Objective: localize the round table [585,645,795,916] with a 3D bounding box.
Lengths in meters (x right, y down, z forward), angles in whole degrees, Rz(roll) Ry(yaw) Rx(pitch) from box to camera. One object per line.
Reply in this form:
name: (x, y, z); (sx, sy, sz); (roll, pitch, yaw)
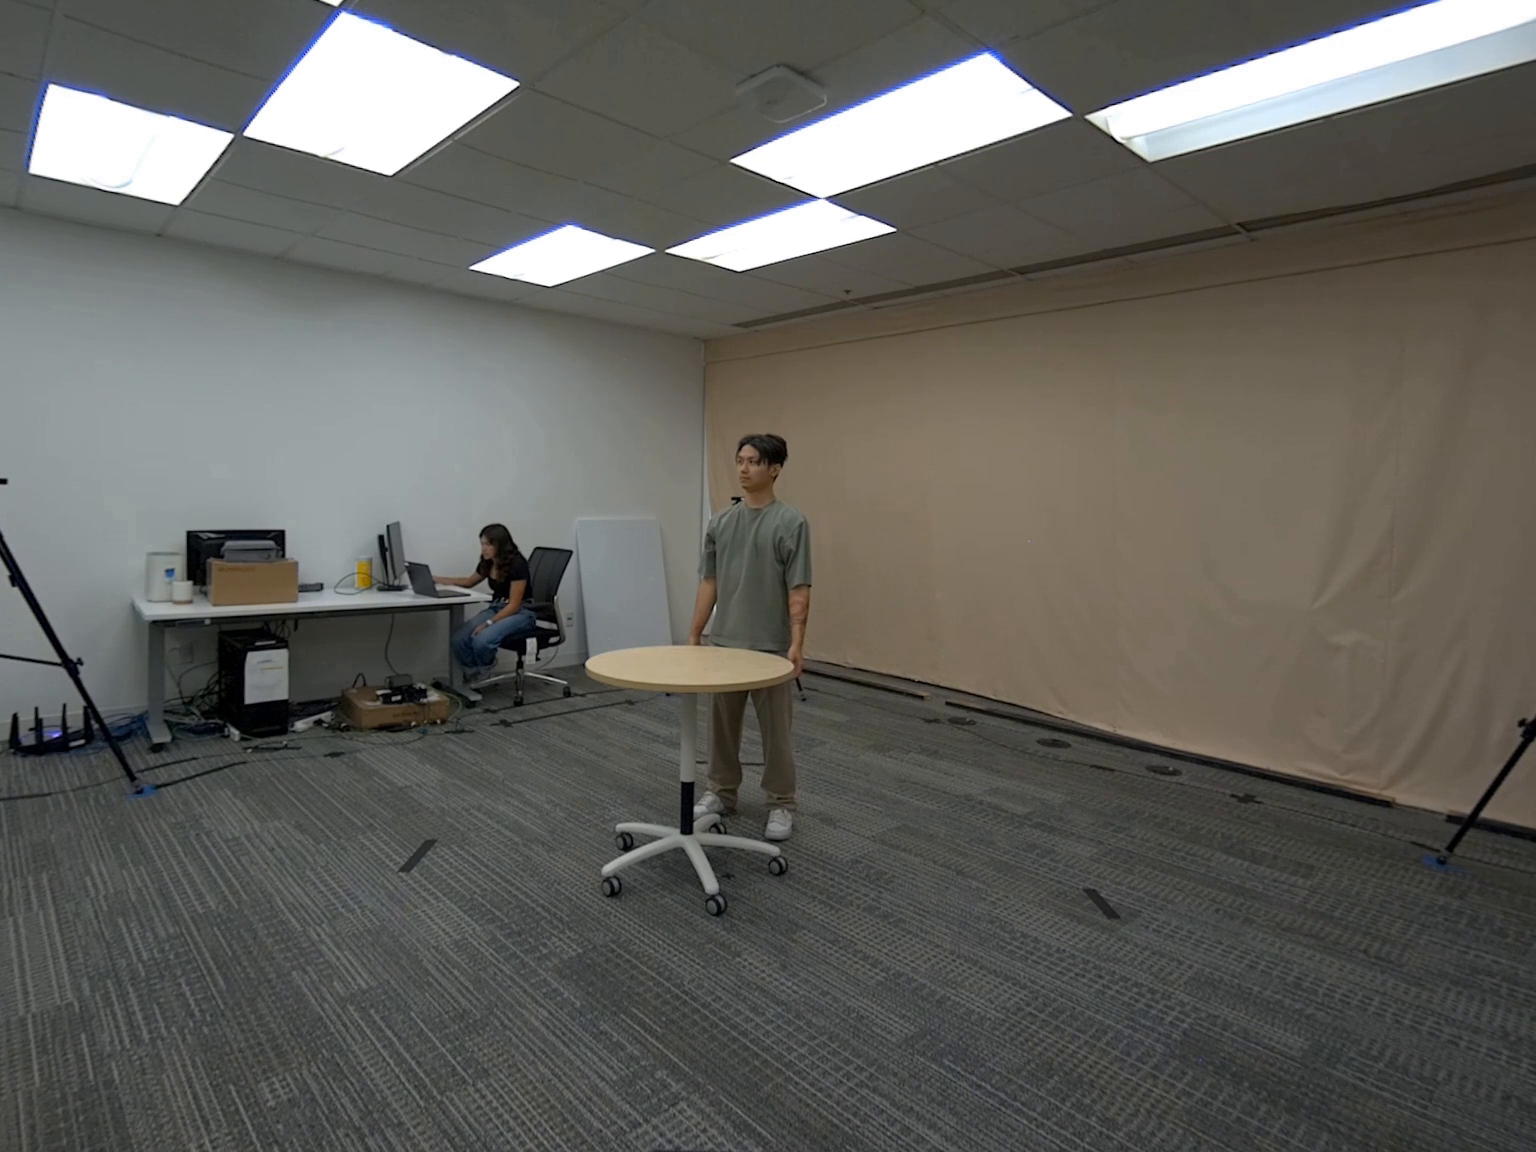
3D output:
round table: (-0.292, 0.713, 3.119); (0.784, 0.785, 0.787); (1, 4, -1)
